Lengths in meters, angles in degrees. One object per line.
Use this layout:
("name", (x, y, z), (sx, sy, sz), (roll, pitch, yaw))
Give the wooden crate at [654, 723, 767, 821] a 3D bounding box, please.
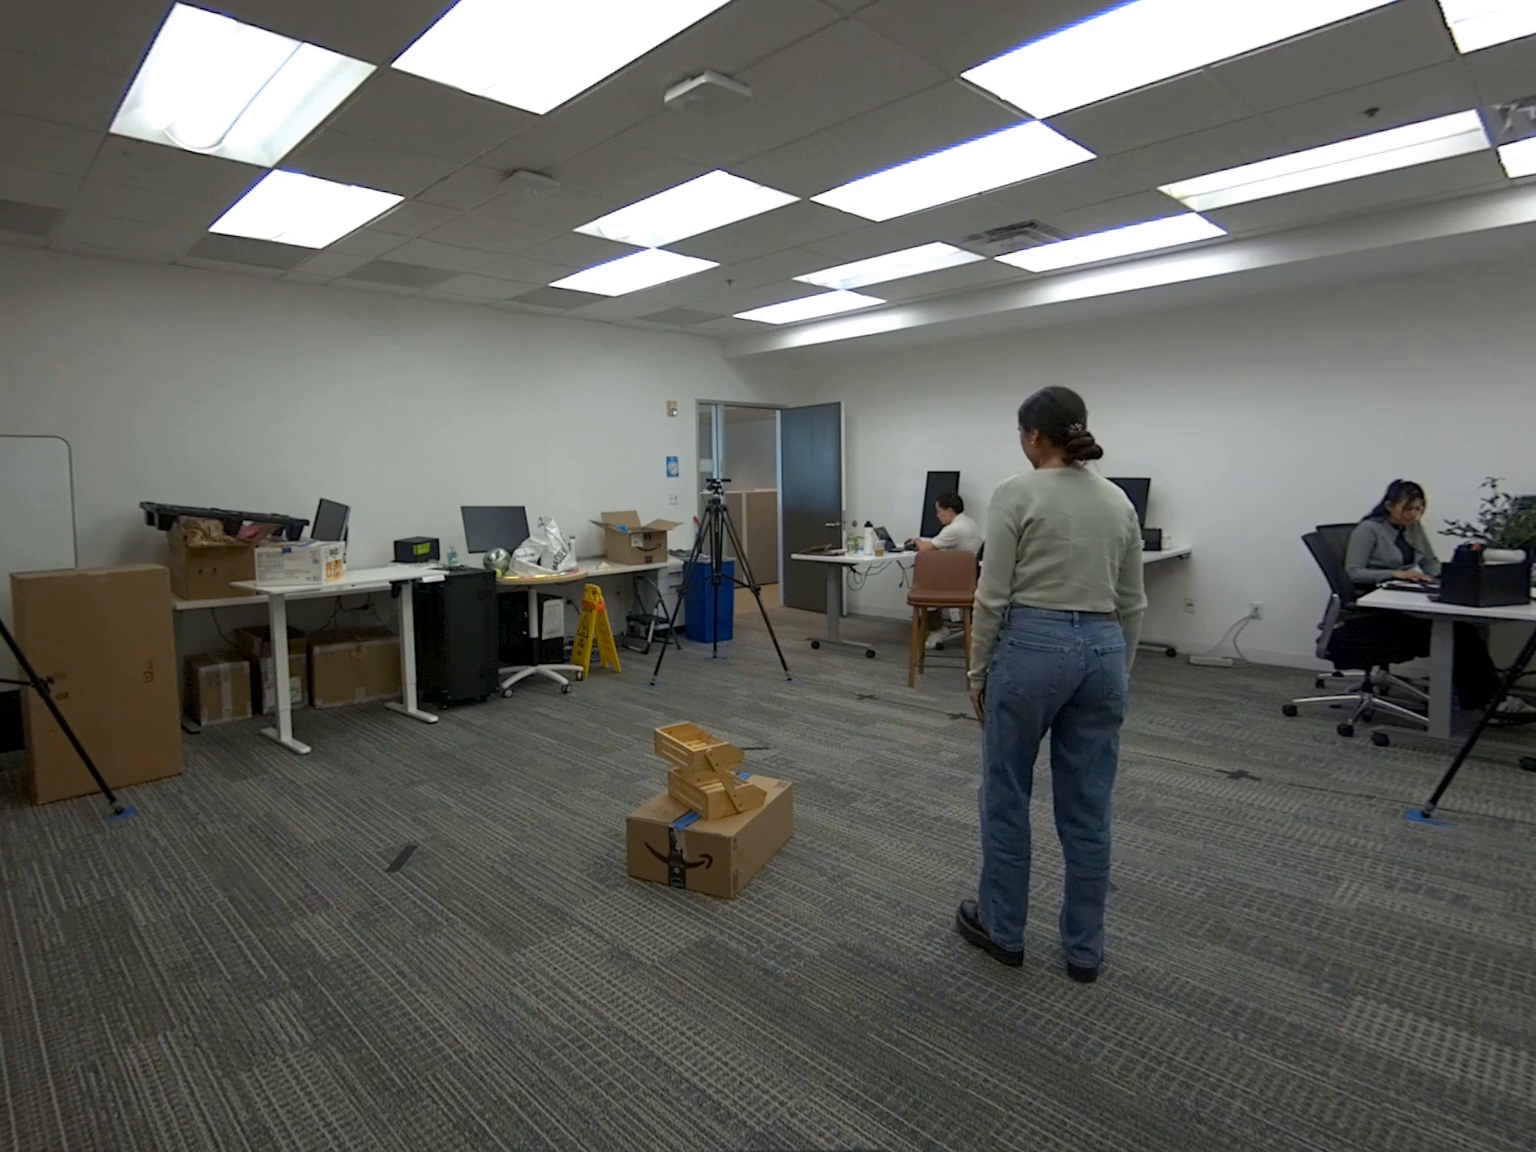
("wooden crate", (-0.212, 0.695, 3.140), (0.295, 0.272, 0.334), (-6, 8, -33))
